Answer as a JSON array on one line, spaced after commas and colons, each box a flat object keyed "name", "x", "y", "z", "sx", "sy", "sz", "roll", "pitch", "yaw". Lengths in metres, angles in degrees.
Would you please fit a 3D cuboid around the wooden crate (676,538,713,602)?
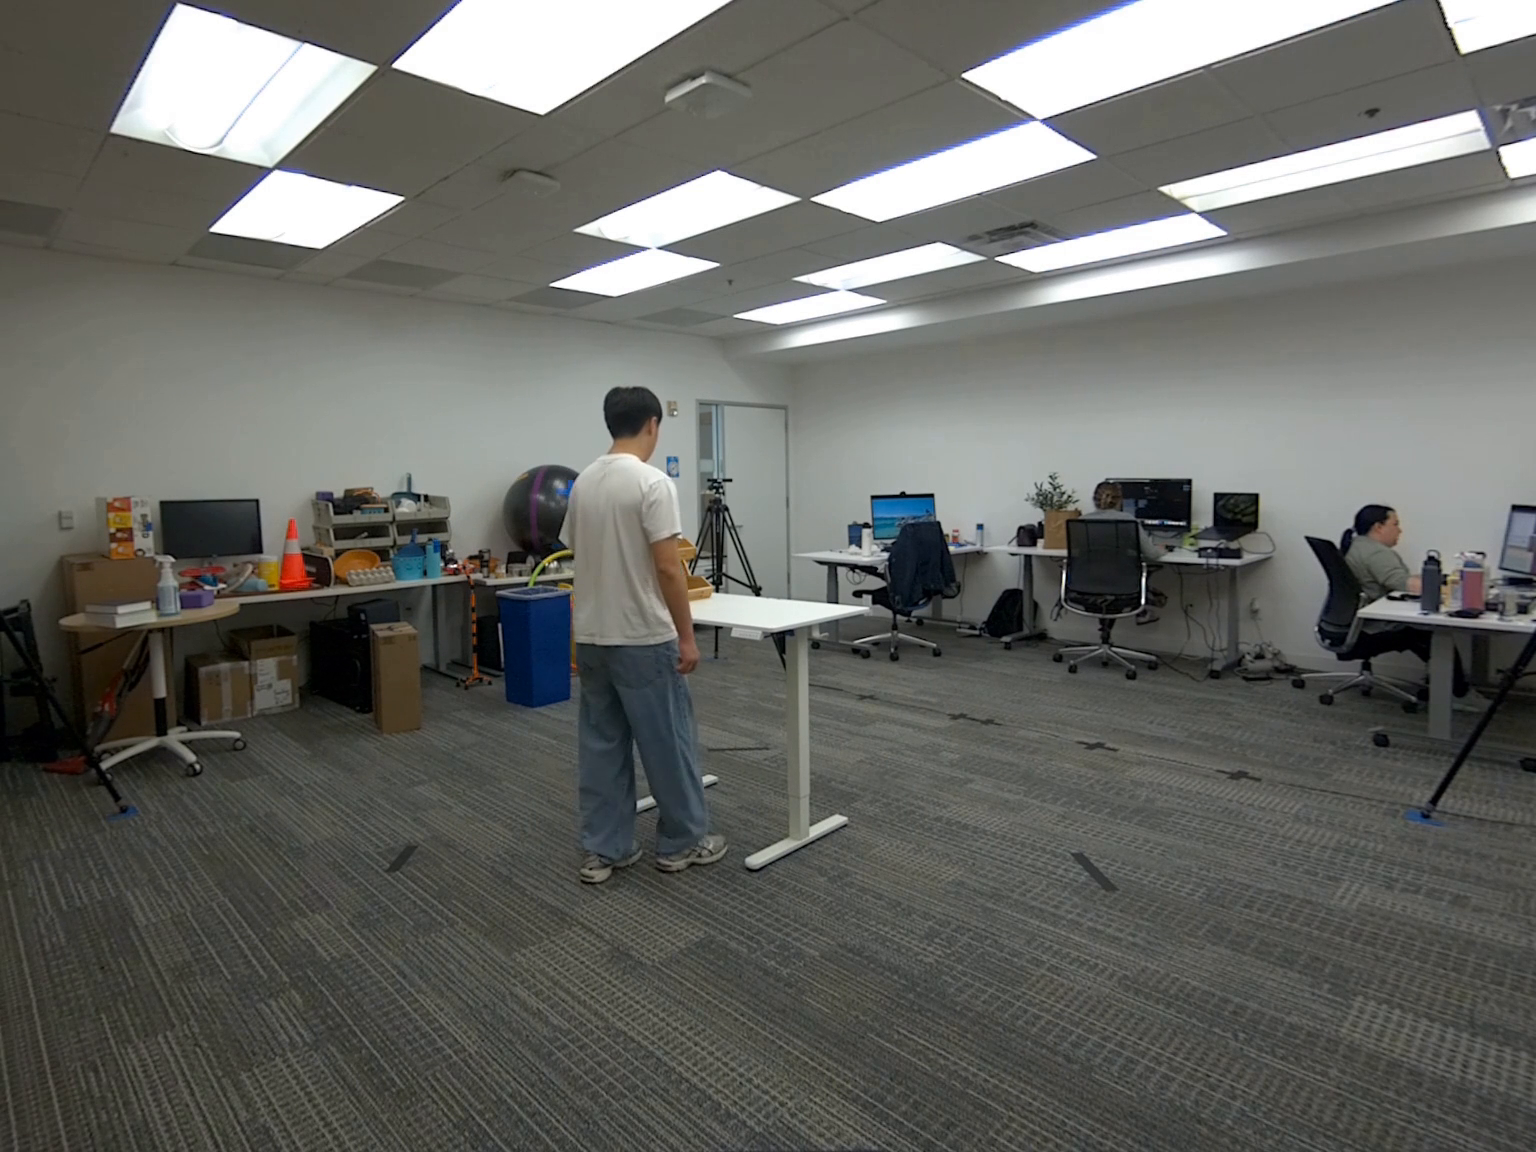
[{"name": "wooden crate", "x": -0.448, "y": -0.029, "z": 3.725, "sx": 0.311, "sy": 0.272, "sz": 0.316, "roll": 1, "pitch": 5, "yaw": 37}]
